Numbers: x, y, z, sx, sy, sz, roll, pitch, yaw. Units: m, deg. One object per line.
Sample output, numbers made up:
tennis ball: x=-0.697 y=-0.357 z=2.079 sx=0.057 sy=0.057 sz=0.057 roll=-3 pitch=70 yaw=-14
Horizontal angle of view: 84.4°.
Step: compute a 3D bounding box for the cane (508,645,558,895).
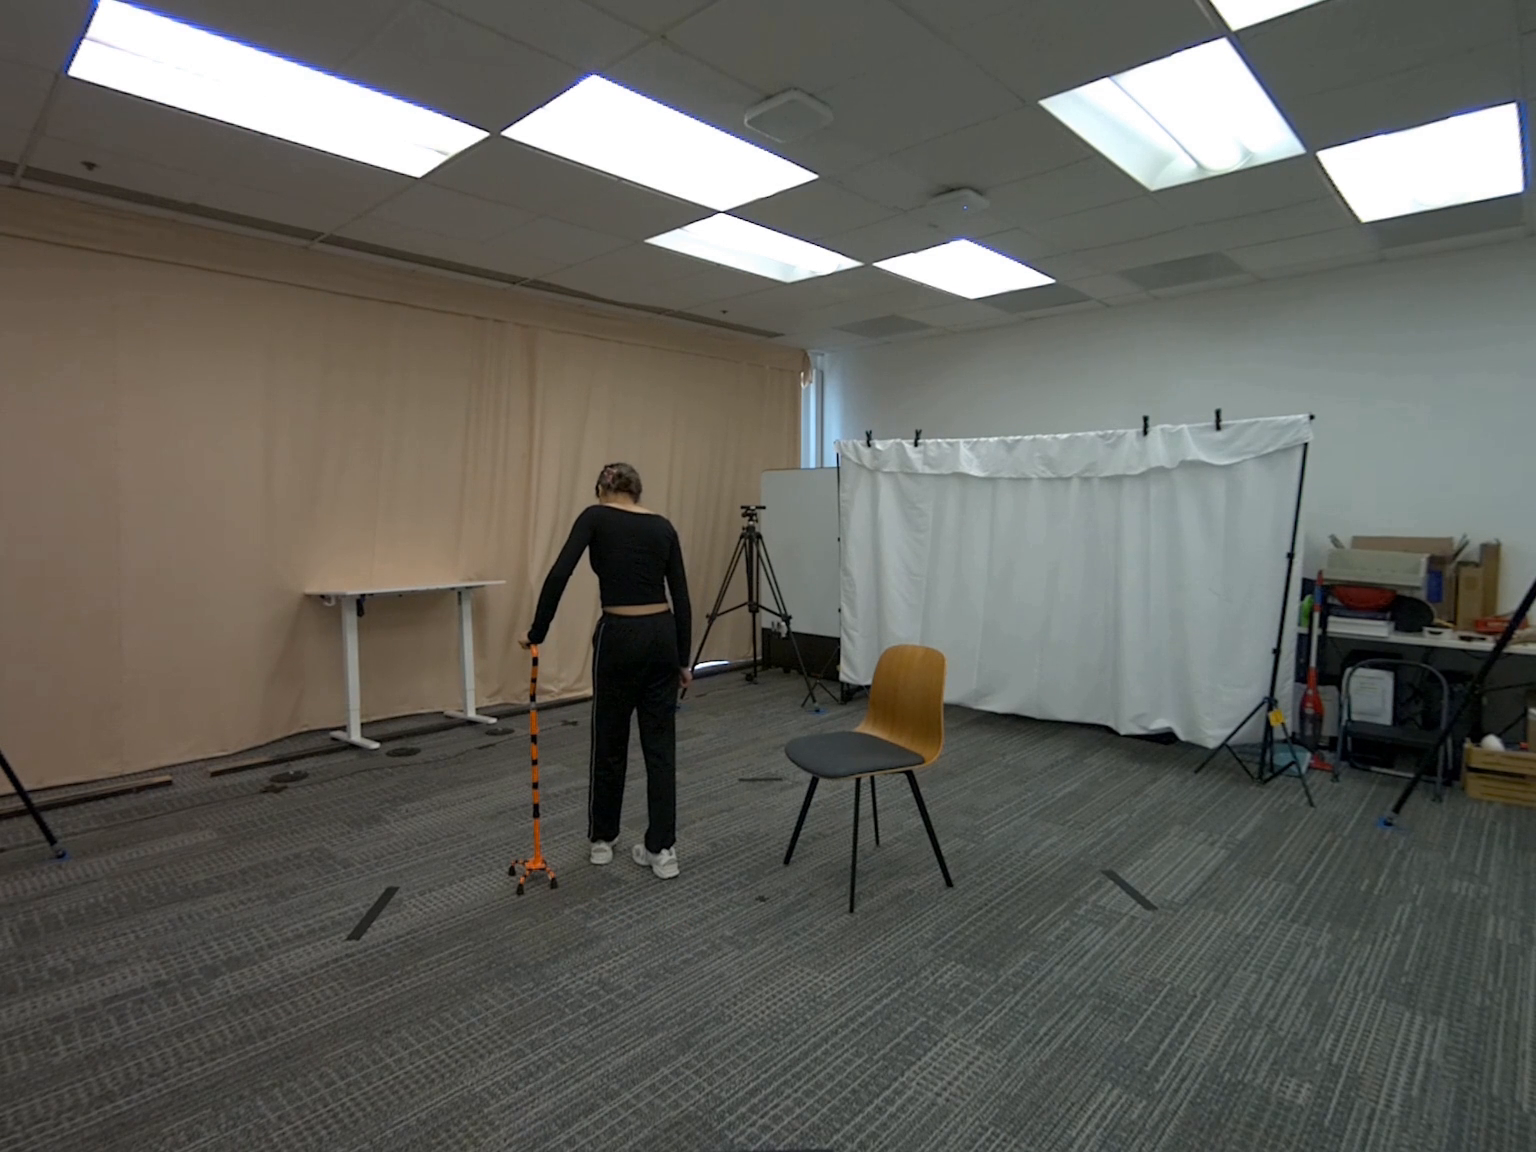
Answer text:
cane: x=-0.896 y=0.690 z=3.126 sx=0.148 sy=0.907 sz=0.211 roll=-2 pitch=1 yaw=-25
